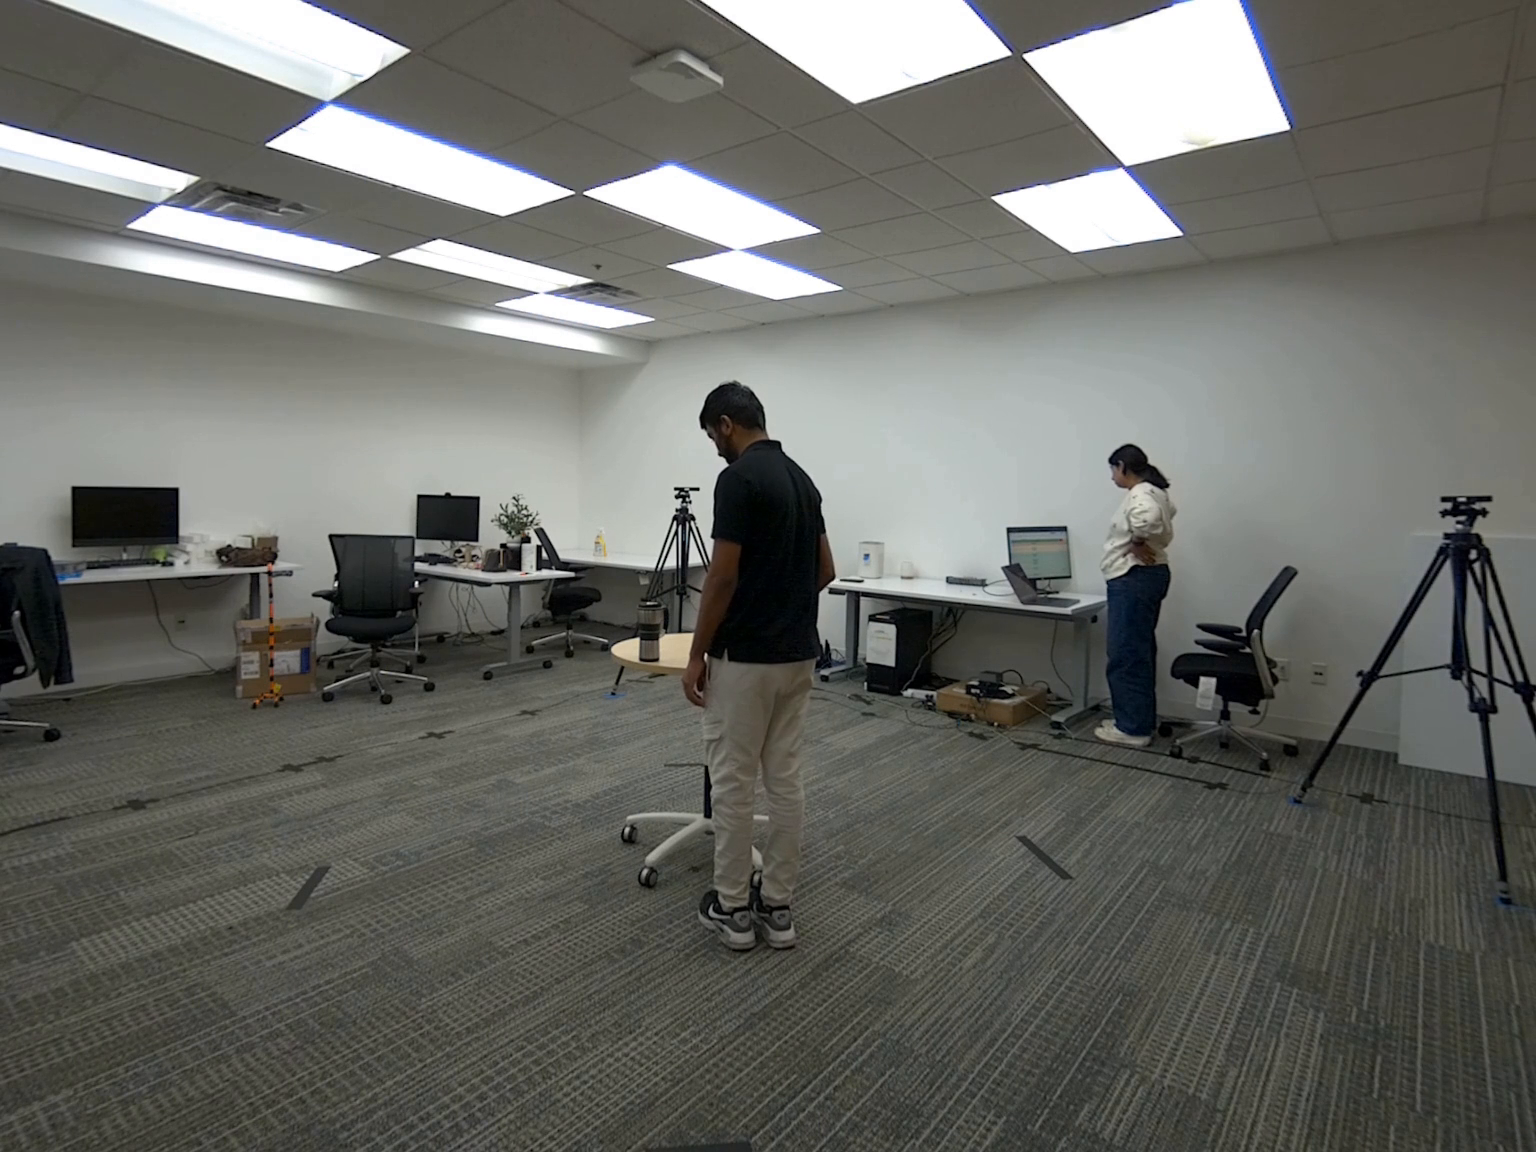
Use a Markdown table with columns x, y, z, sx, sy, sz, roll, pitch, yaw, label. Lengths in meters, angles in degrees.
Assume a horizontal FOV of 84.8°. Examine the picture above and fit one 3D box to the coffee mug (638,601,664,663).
| x | y | z | sx | sy | sz | roll | pitch | yaw | label |
| --- | --- | --- | --- | --- | --- | --- | --- | --- | --- |
| -0.405 | 0.193 | 2.954 | 0.125 | 0.203 | 0.085 | 2 | -2 | 30 | coffee mug |
